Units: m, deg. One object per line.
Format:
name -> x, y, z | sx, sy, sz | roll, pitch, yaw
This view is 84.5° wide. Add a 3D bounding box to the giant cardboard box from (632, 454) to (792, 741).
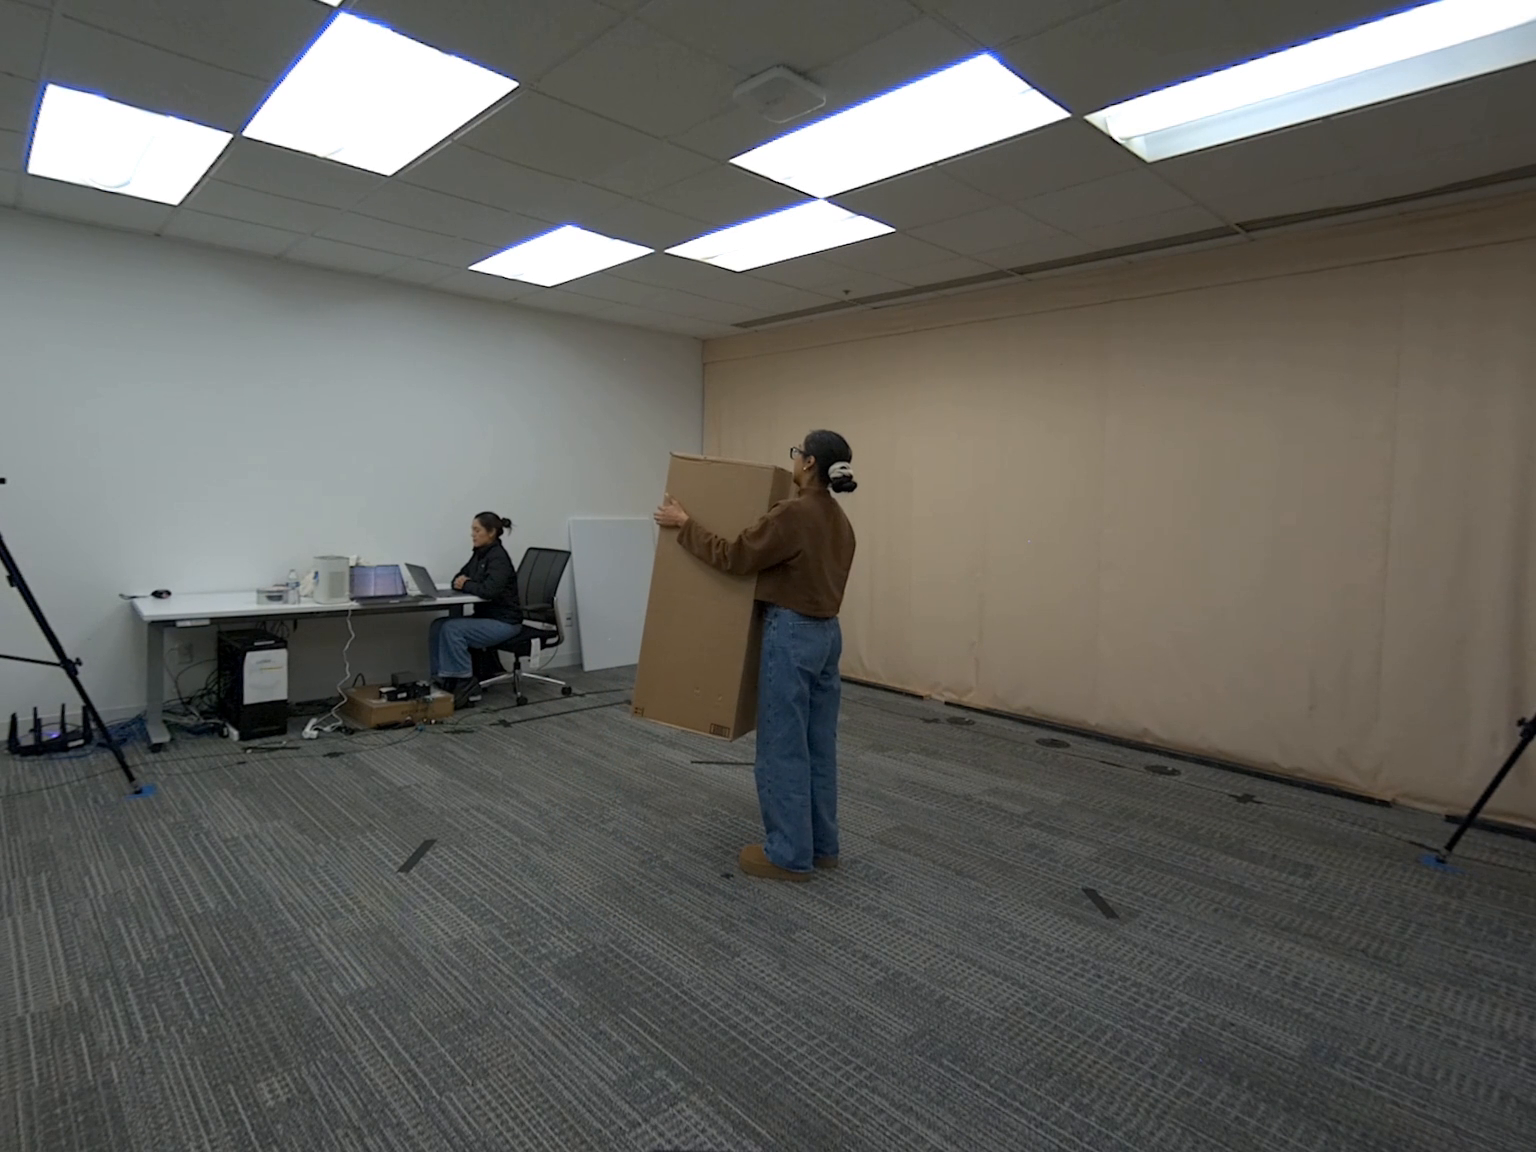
giant cardboard box -> -0.181, 0.070, 3.400 | 0.434, 1.025, 0.568 | 10, 2, 19
